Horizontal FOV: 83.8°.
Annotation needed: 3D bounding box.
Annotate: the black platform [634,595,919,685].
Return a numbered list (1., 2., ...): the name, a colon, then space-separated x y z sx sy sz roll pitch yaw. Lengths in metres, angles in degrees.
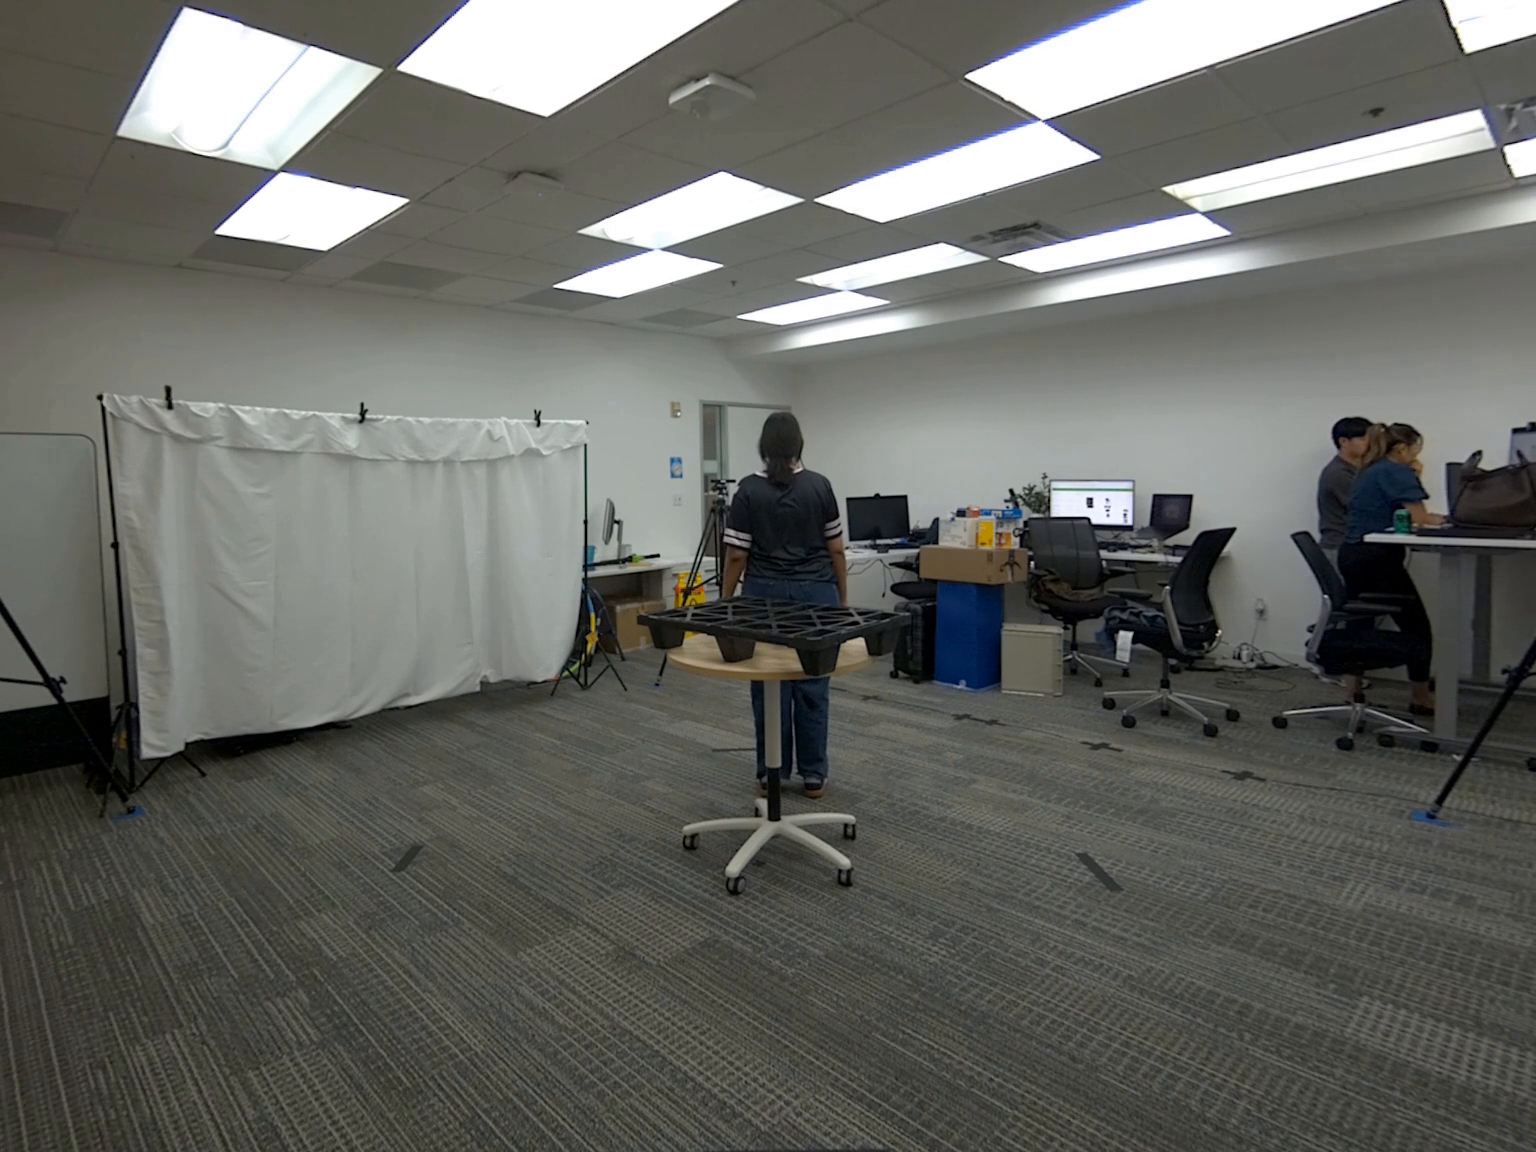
1. black platform: 0.019 0.209 3.049 0.830 0.142 0.590 5 9 41
